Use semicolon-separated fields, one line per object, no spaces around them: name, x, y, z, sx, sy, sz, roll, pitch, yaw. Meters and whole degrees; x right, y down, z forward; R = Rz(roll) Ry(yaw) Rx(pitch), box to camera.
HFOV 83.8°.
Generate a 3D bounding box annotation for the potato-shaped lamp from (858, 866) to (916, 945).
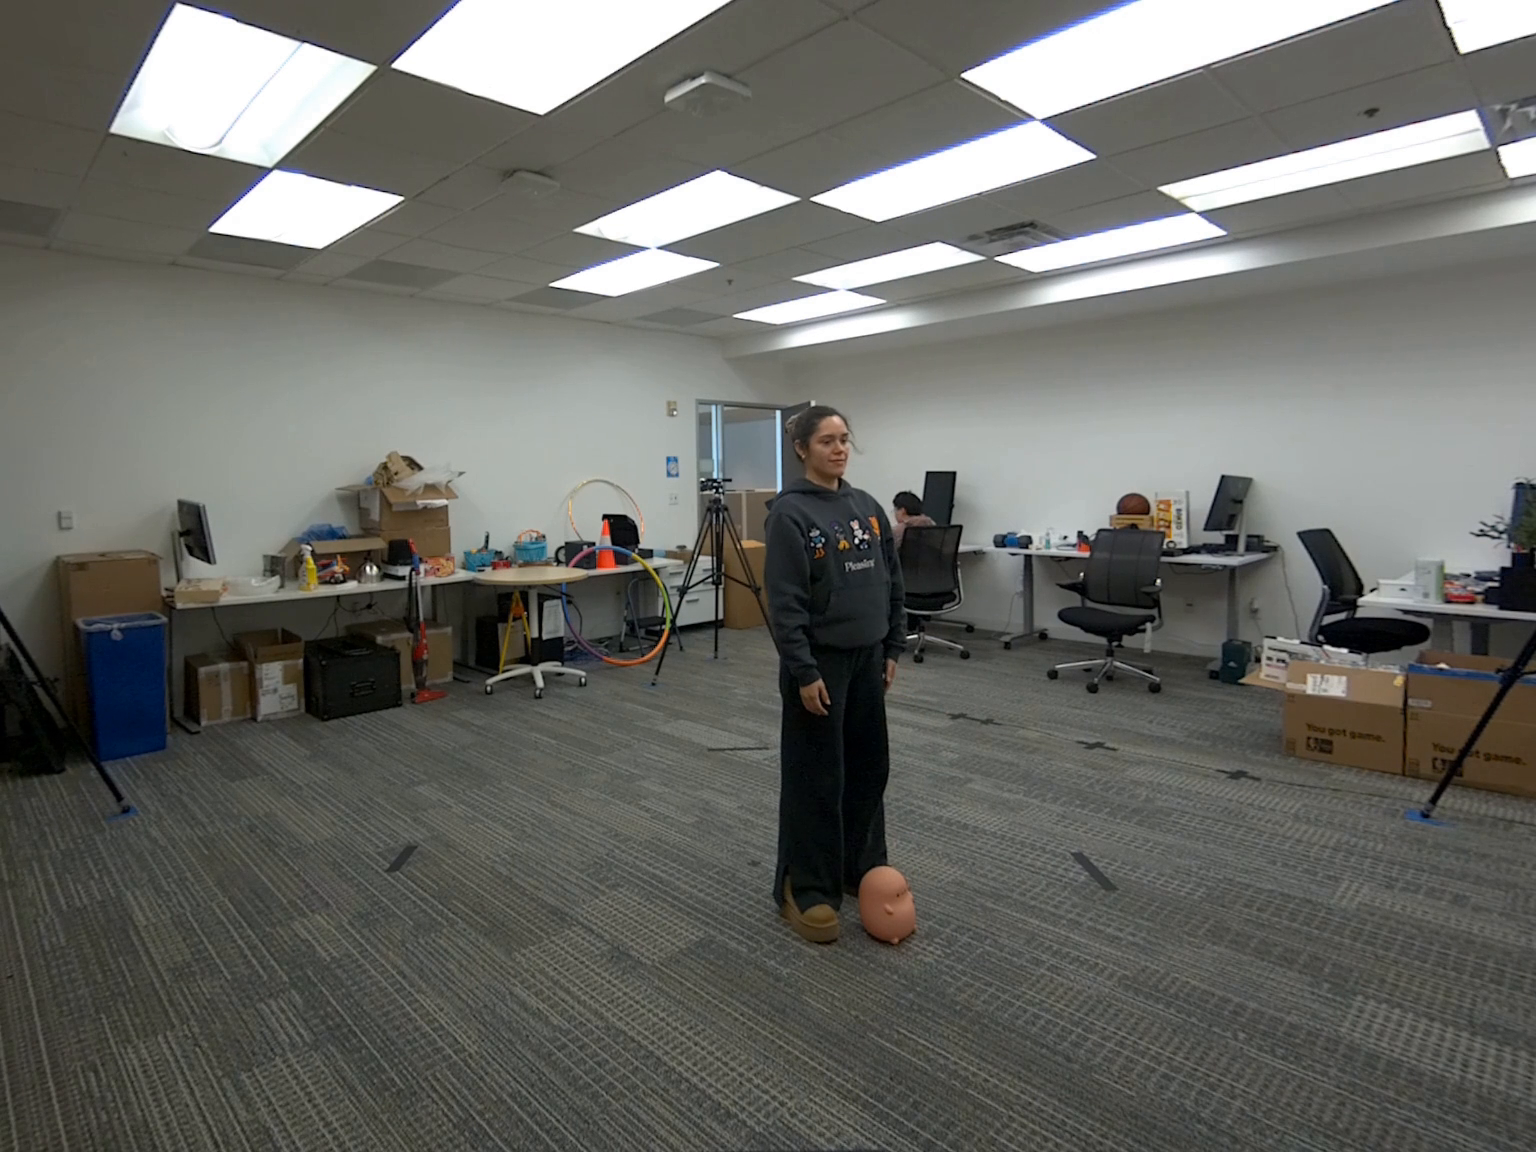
potato-shaped lamp;0.370;0.995;2.598;0.160;0.197;0.177;-6;7;-44
